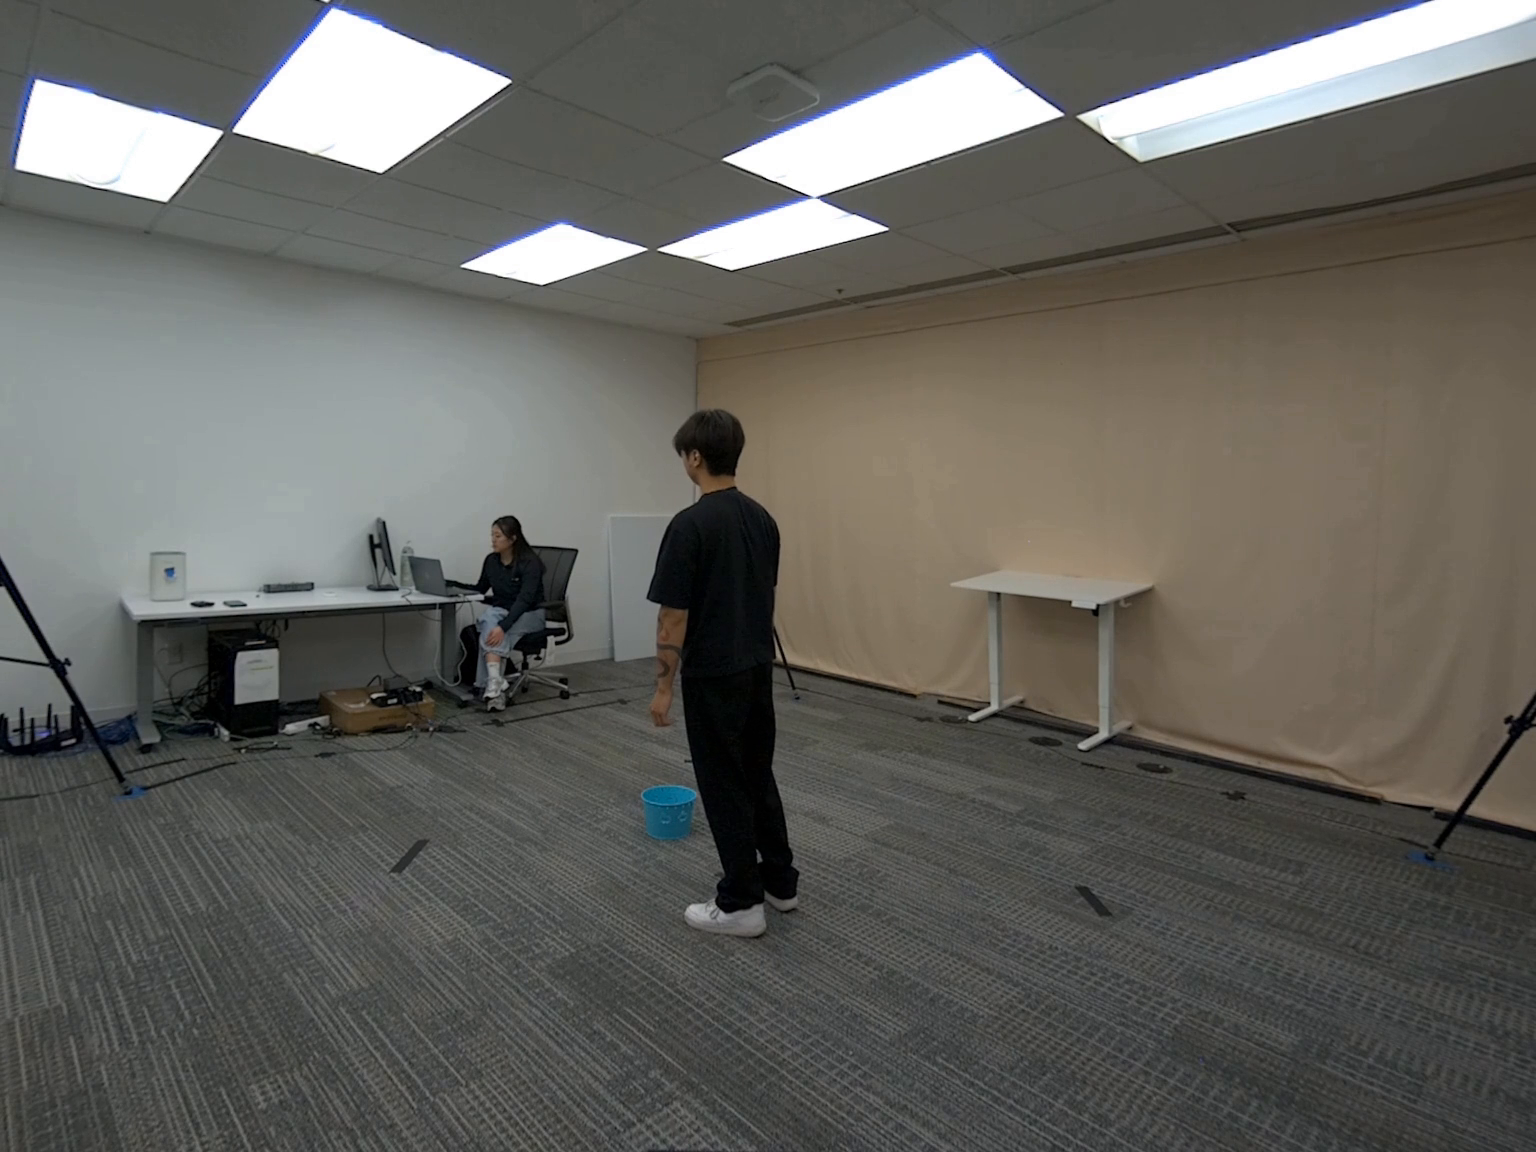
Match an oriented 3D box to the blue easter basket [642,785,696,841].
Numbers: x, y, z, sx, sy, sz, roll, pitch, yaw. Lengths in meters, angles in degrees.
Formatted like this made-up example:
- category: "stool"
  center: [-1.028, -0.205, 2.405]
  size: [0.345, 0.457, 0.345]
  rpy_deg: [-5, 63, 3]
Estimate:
- category: "blue easter basket"
  center: [-0.418, 0.985, 3.508]
  size: [0.243, 0.155, 0.244]
  rpy_deg: [2, 5, -1]
